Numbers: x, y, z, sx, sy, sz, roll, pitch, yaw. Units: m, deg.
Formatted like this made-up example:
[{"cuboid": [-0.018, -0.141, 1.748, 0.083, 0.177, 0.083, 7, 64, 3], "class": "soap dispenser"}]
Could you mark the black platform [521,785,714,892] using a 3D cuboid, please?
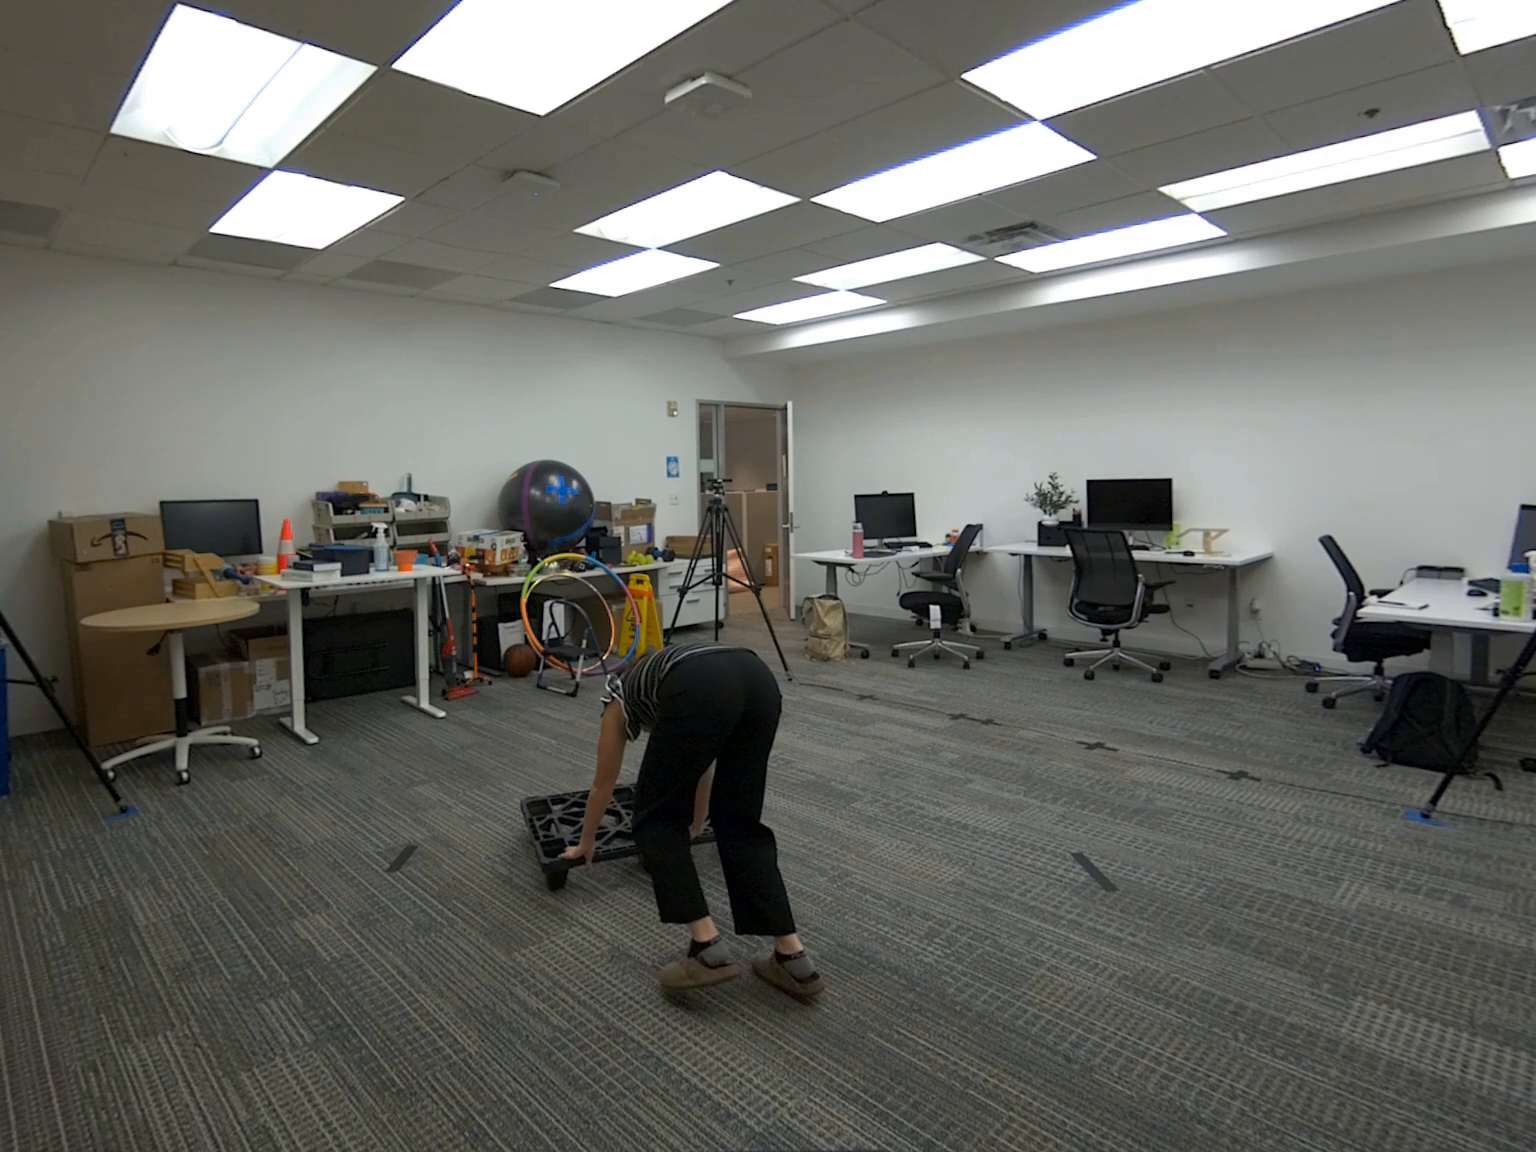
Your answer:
[{"cuboid": [-0.500, 0.963, 3.270, 0.791, 0.142, 0.619, -4, 7, -21], "class": "black platform"}]
